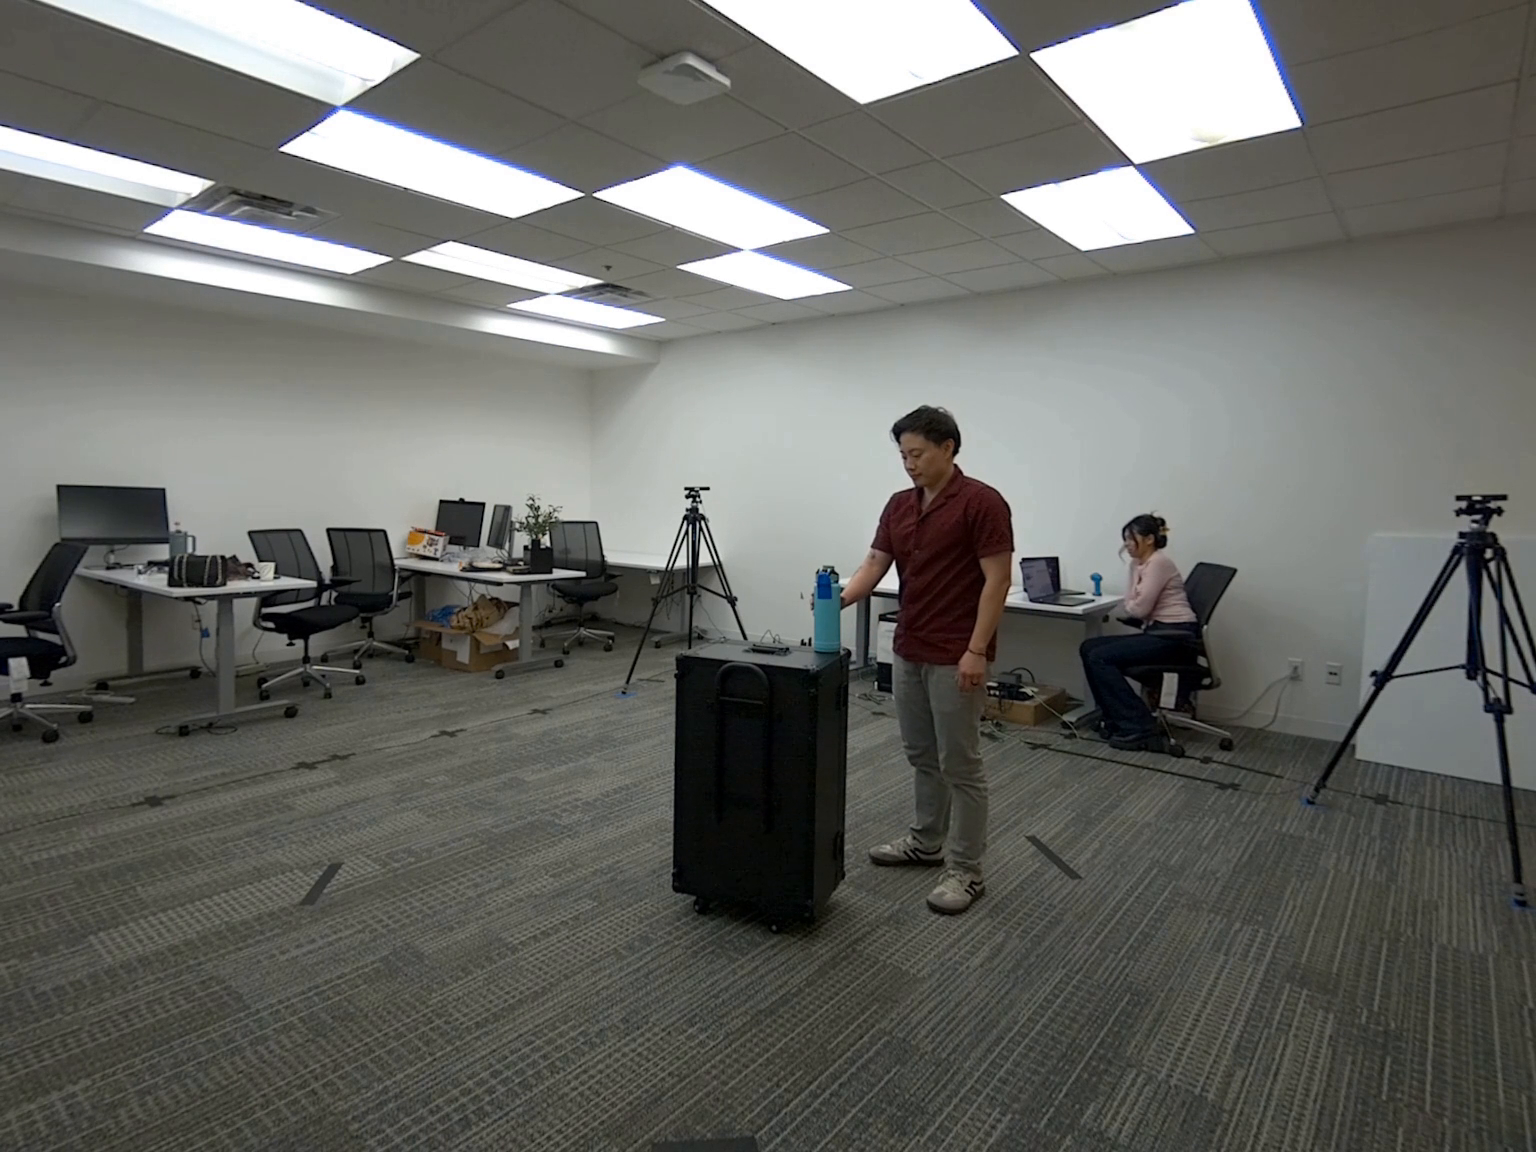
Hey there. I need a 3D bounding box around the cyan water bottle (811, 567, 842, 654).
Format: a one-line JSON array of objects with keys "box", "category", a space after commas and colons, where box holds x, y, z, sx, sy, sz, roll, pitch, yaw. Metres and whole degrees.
[{"box": [0.194, 0.105, 2.847, 0.092, 0.282, 0.093, -3, 3, -2], "category": "cyan water bottle"}]
